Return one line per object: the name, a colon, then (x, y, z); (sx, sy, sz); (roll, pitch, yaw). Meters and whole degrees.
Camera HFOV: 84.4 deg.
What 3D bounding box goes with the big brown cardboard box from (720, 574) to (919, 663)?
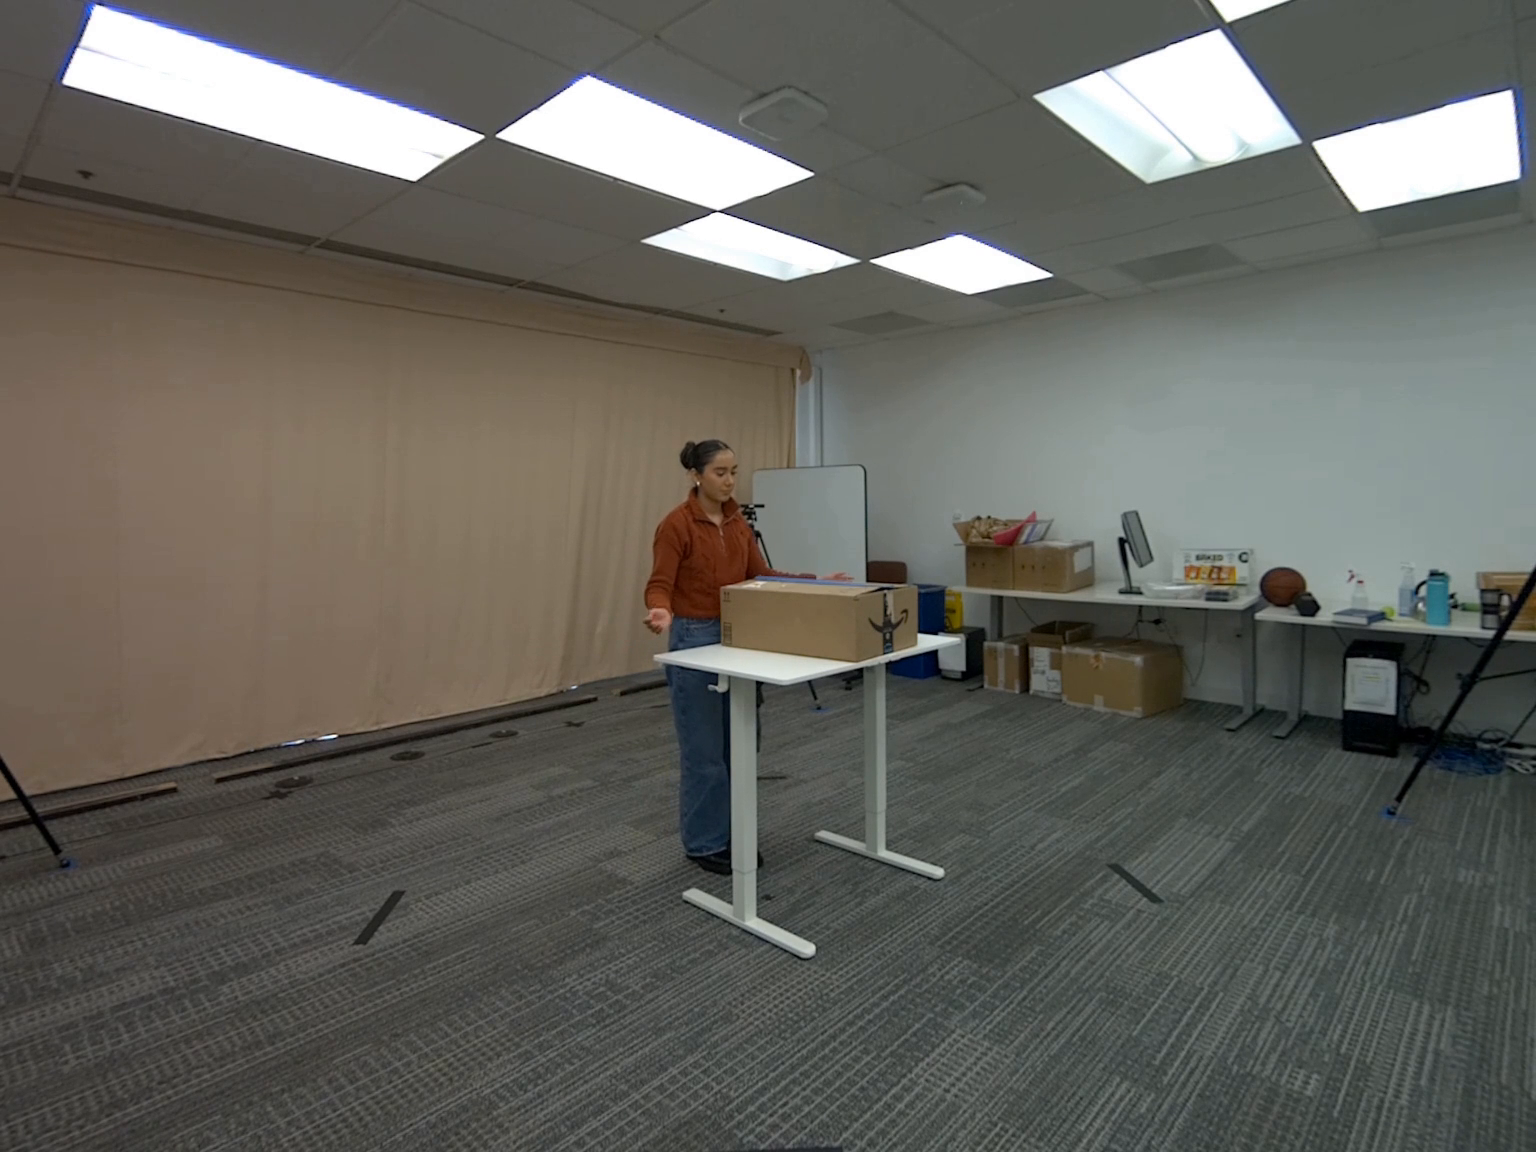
big brown cardboard box: (0.183, 0.142, 3.018); (0.608, 0.232, 0.405); (4, 6, 38)
